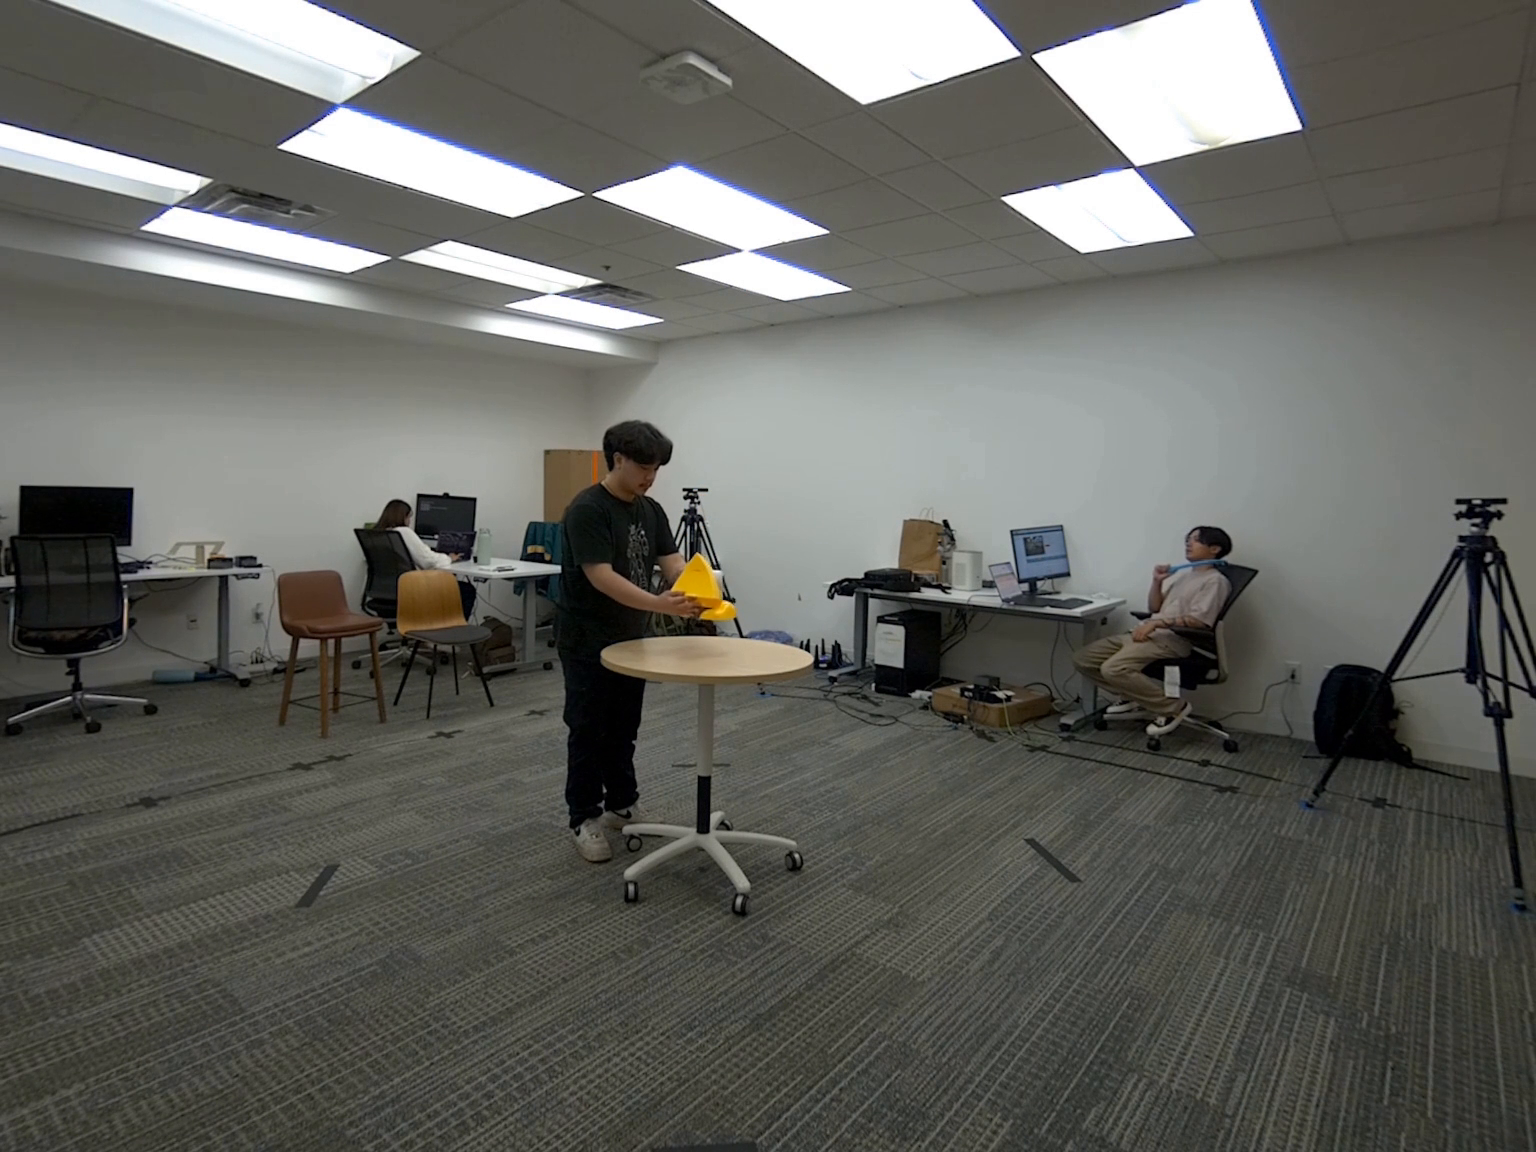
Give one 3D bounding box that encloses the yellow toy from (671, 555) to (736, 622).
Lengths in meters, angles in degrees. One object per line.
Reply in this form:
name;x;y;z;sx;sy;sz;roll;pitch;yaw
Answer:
yellow toy;-0.228;0.028;3.037;0.211;0.230;0.187;4;4;35
